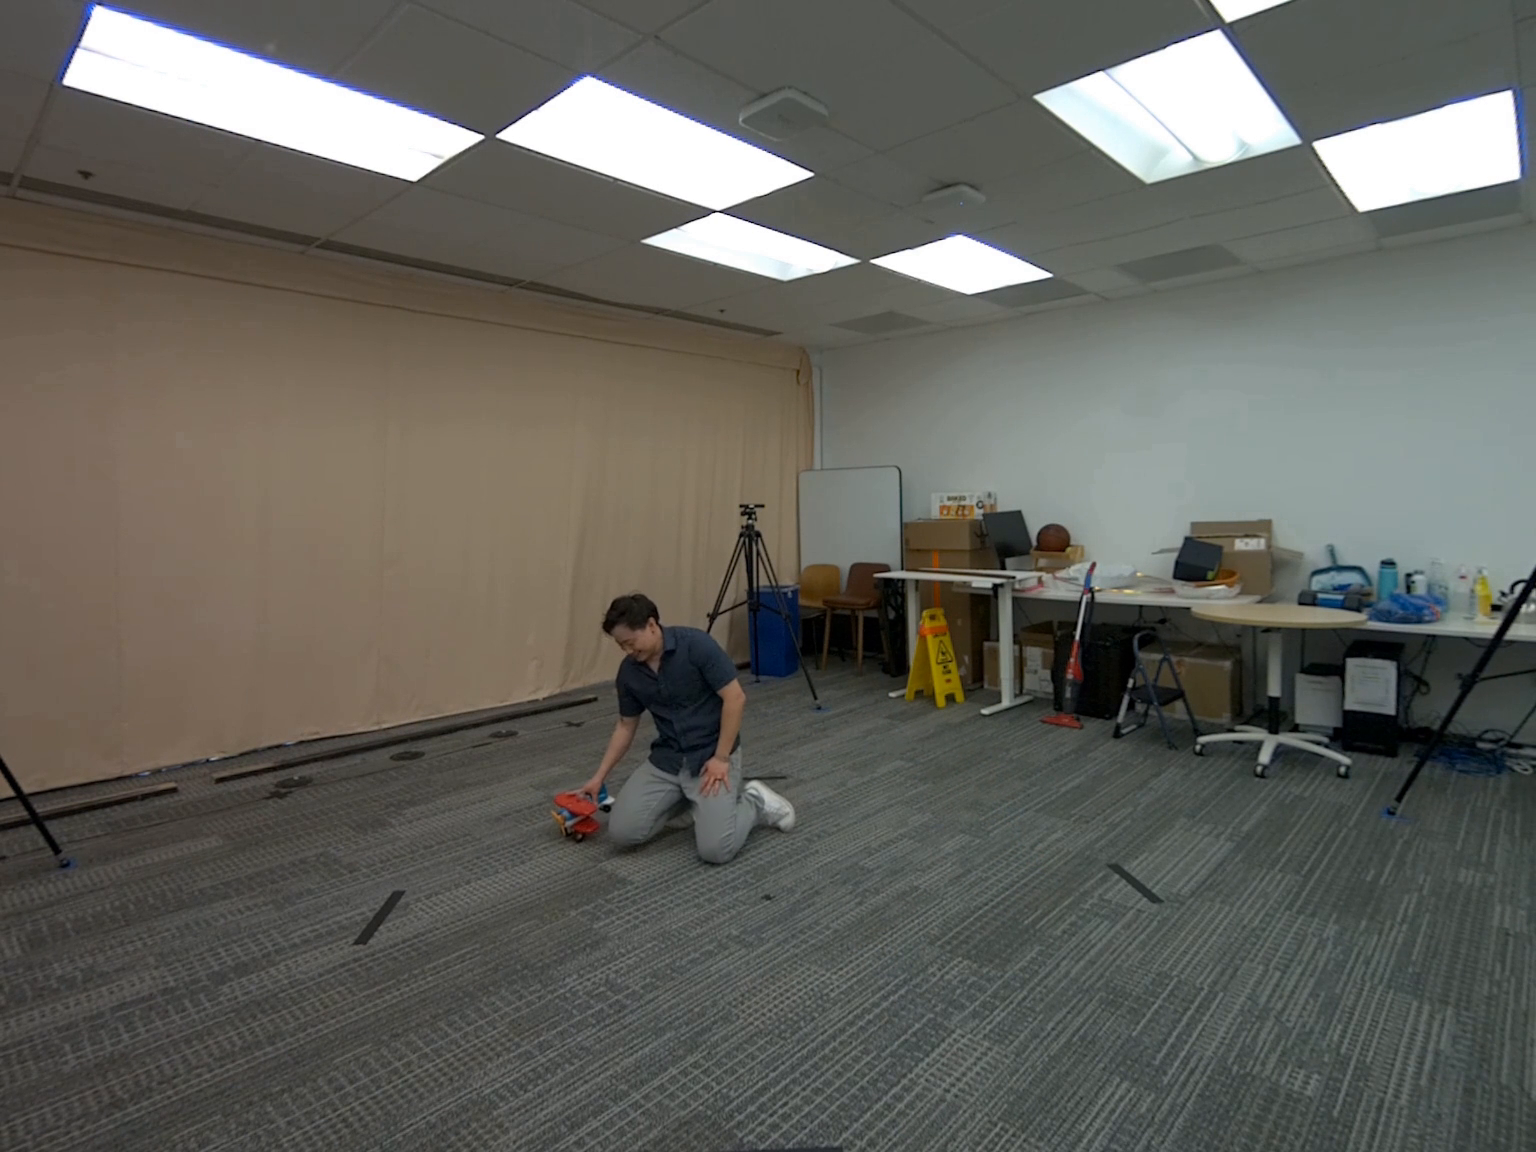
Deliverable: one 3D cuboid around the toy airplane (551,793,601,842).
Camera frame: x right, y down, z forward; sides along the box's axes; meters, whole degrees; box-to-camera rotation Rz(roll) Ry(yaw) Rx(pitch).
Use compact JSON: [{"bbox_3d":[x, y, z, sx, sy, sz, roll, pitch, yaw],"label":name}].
[{"bbox_3d":[-0.802,1.009,3.611,0.255,0.153,0.260,-9,24,18],"label":"toy airplane"}]
